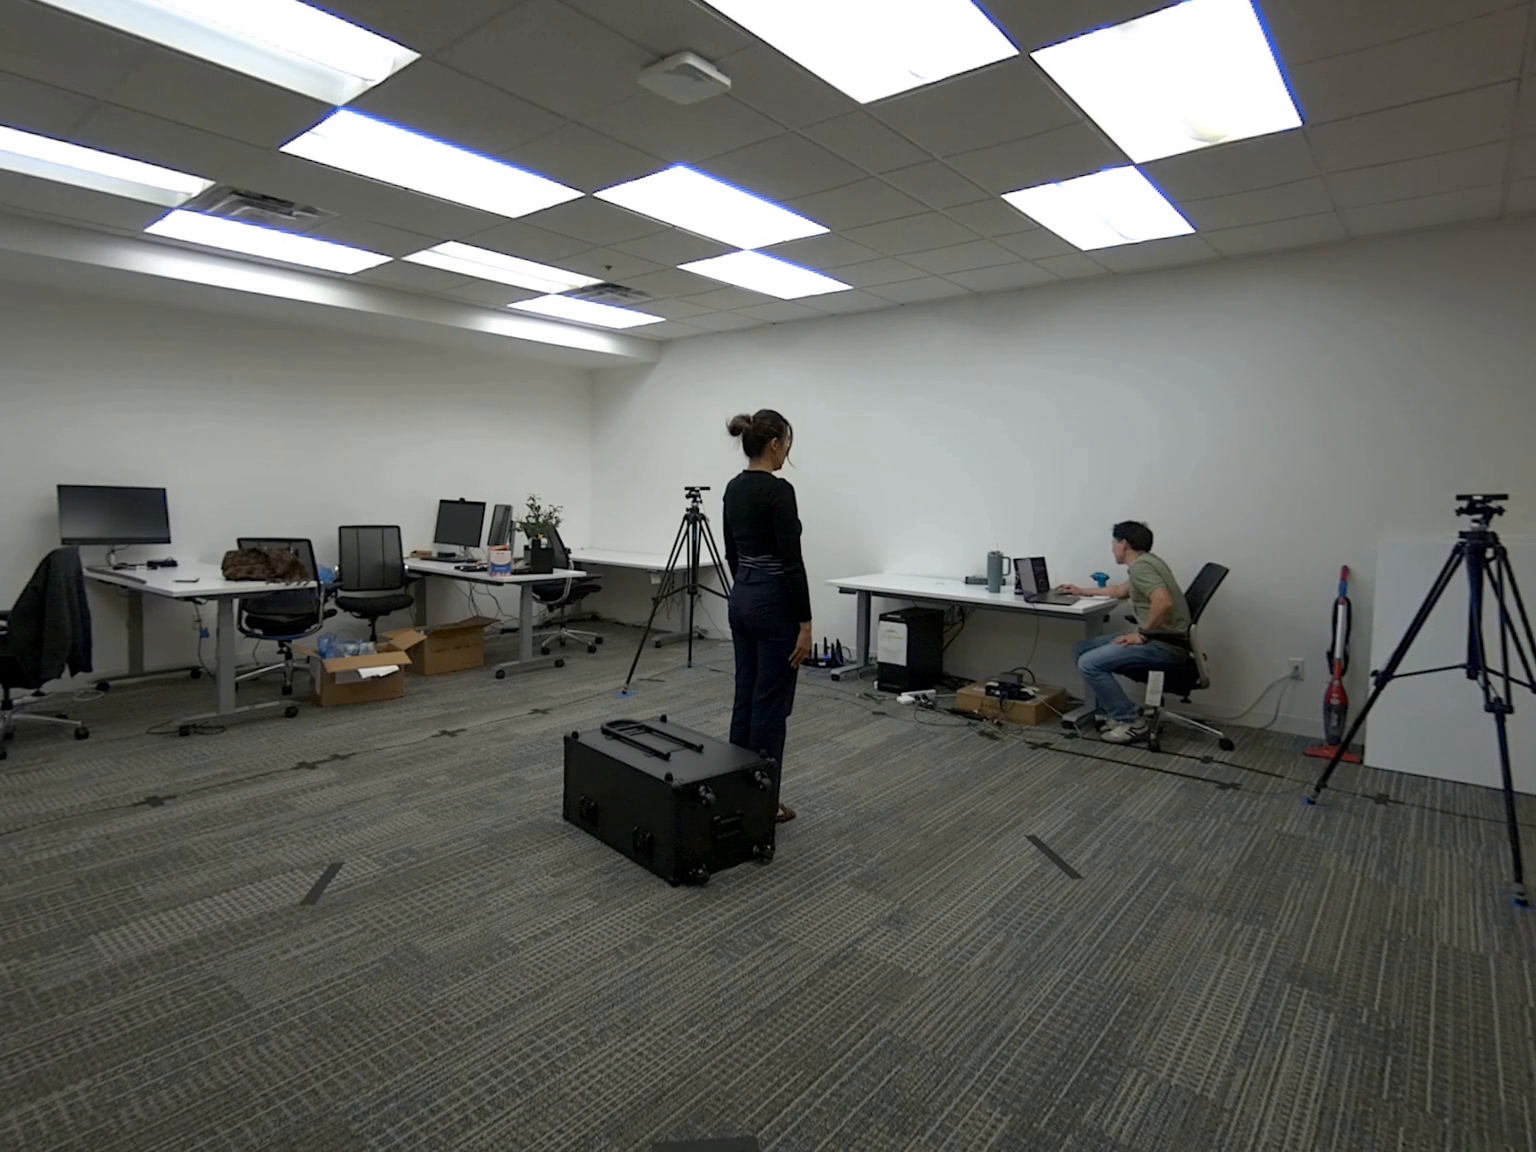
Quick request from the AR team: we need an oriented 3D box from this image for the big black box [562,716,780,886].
[{"bbox_3d":[-0.439,0.856,3.412,0.506,0.395,0.891,-3,7,-41],"label":"big black box"}]
